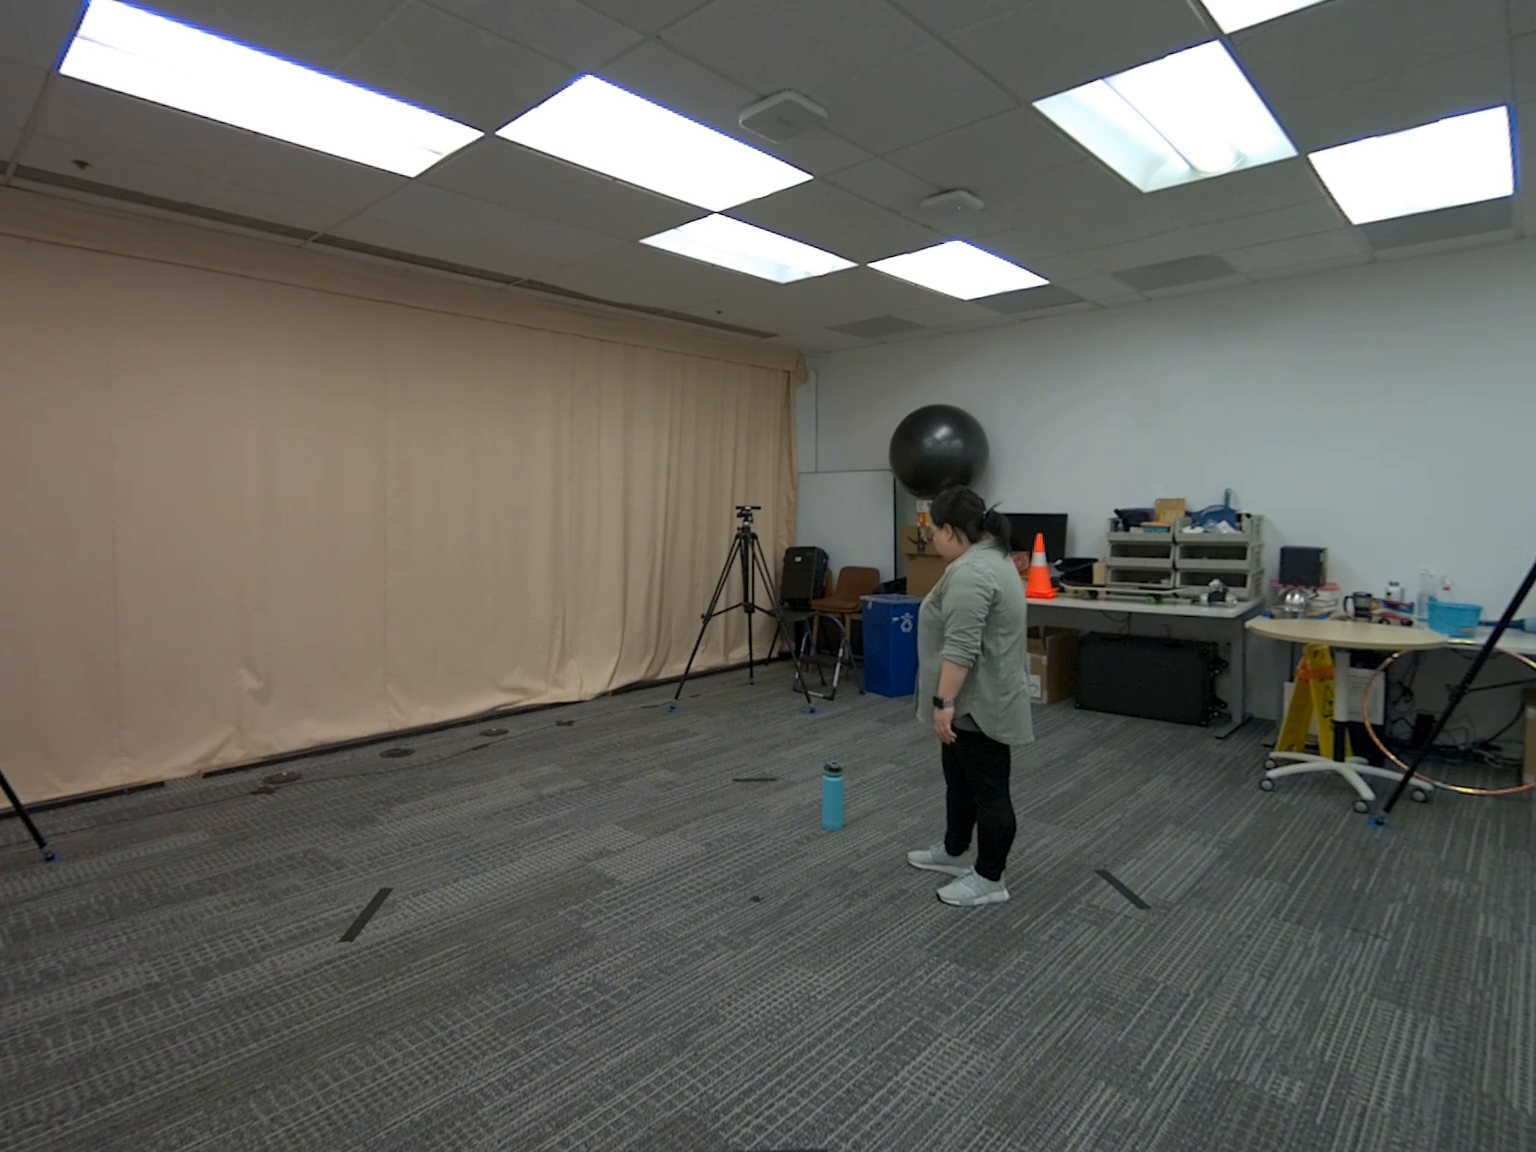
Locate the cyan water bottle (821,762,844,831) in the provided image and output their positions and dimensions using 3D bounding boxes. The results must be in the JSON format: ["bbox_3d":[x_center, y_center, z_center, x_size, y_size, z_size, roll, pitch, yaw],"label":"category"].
[{"bbox_3d":[0.284,0.949,3.657,0.092,0.283,0.092,0,2,-2],"label":"cyan water bottle"}]
